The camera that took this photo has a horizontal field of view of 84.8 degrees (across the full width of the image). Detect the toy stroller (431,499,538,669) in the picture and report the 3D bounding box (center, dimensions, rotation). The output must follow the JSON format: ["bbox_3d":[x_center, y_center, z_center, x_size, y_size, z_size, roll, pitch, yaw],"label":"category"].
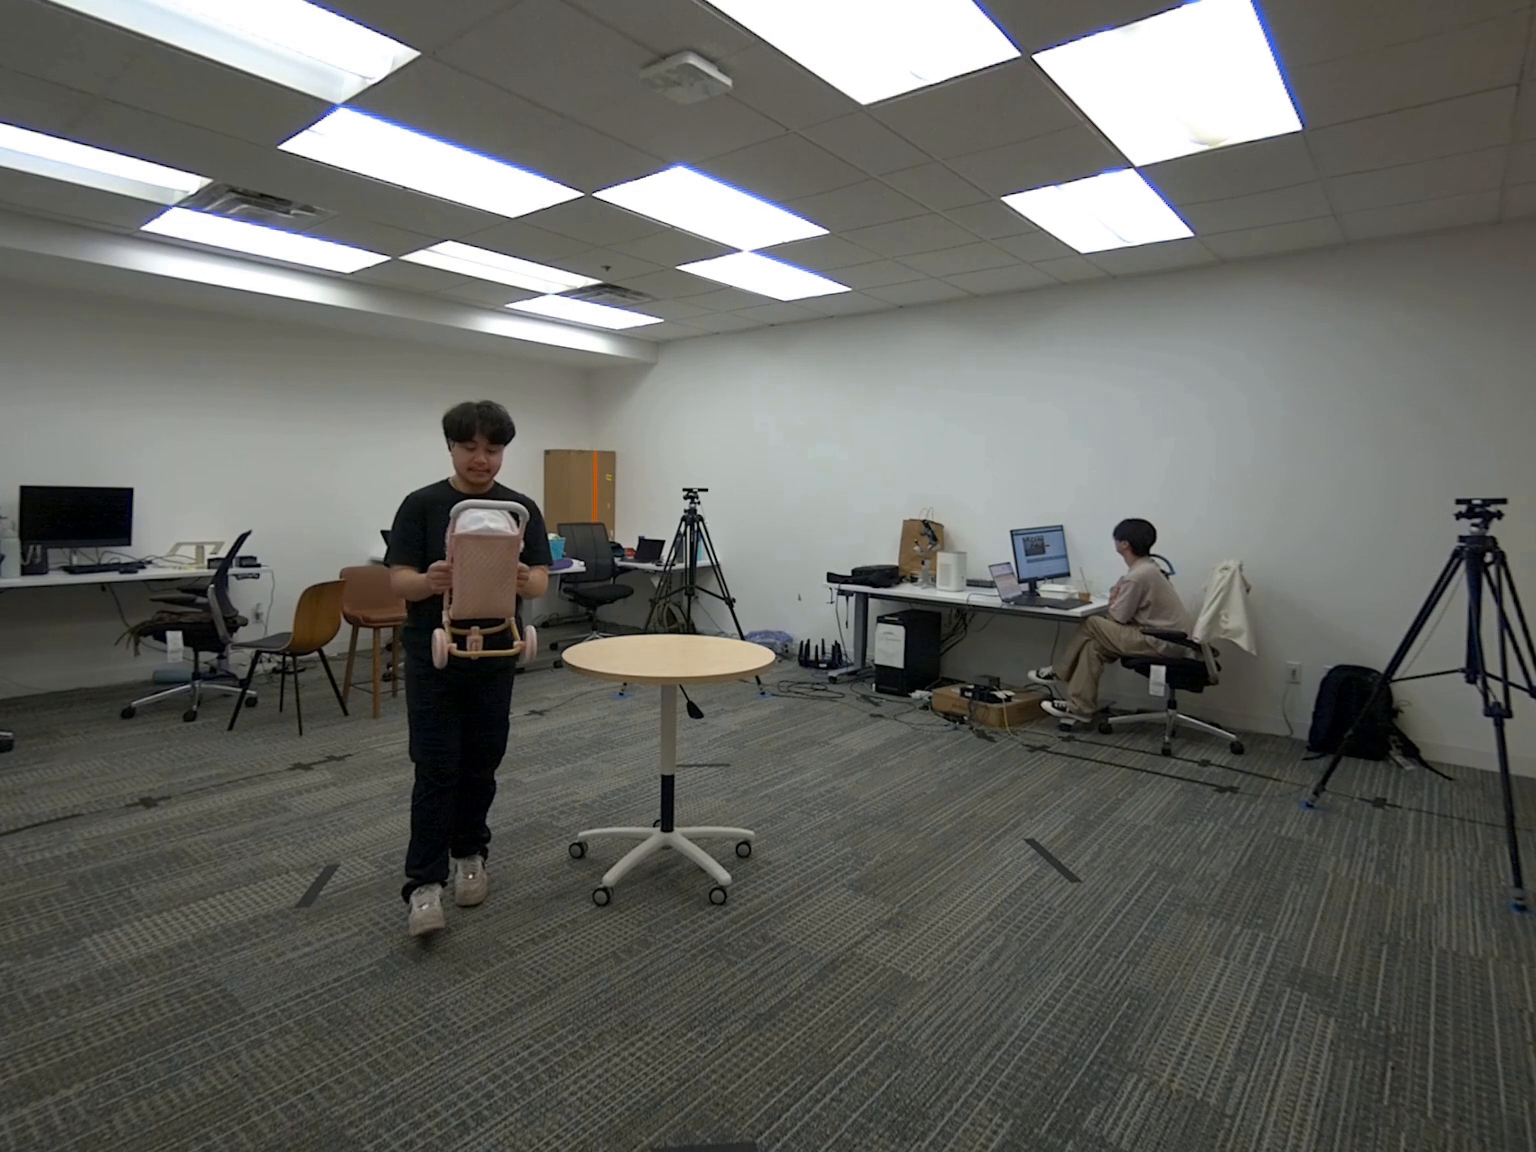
[{"bbox_3d":[-0.848,0.024,2.473,0.276,0.530,0.351,0,10,-20],"label":"toy stroller"}]
